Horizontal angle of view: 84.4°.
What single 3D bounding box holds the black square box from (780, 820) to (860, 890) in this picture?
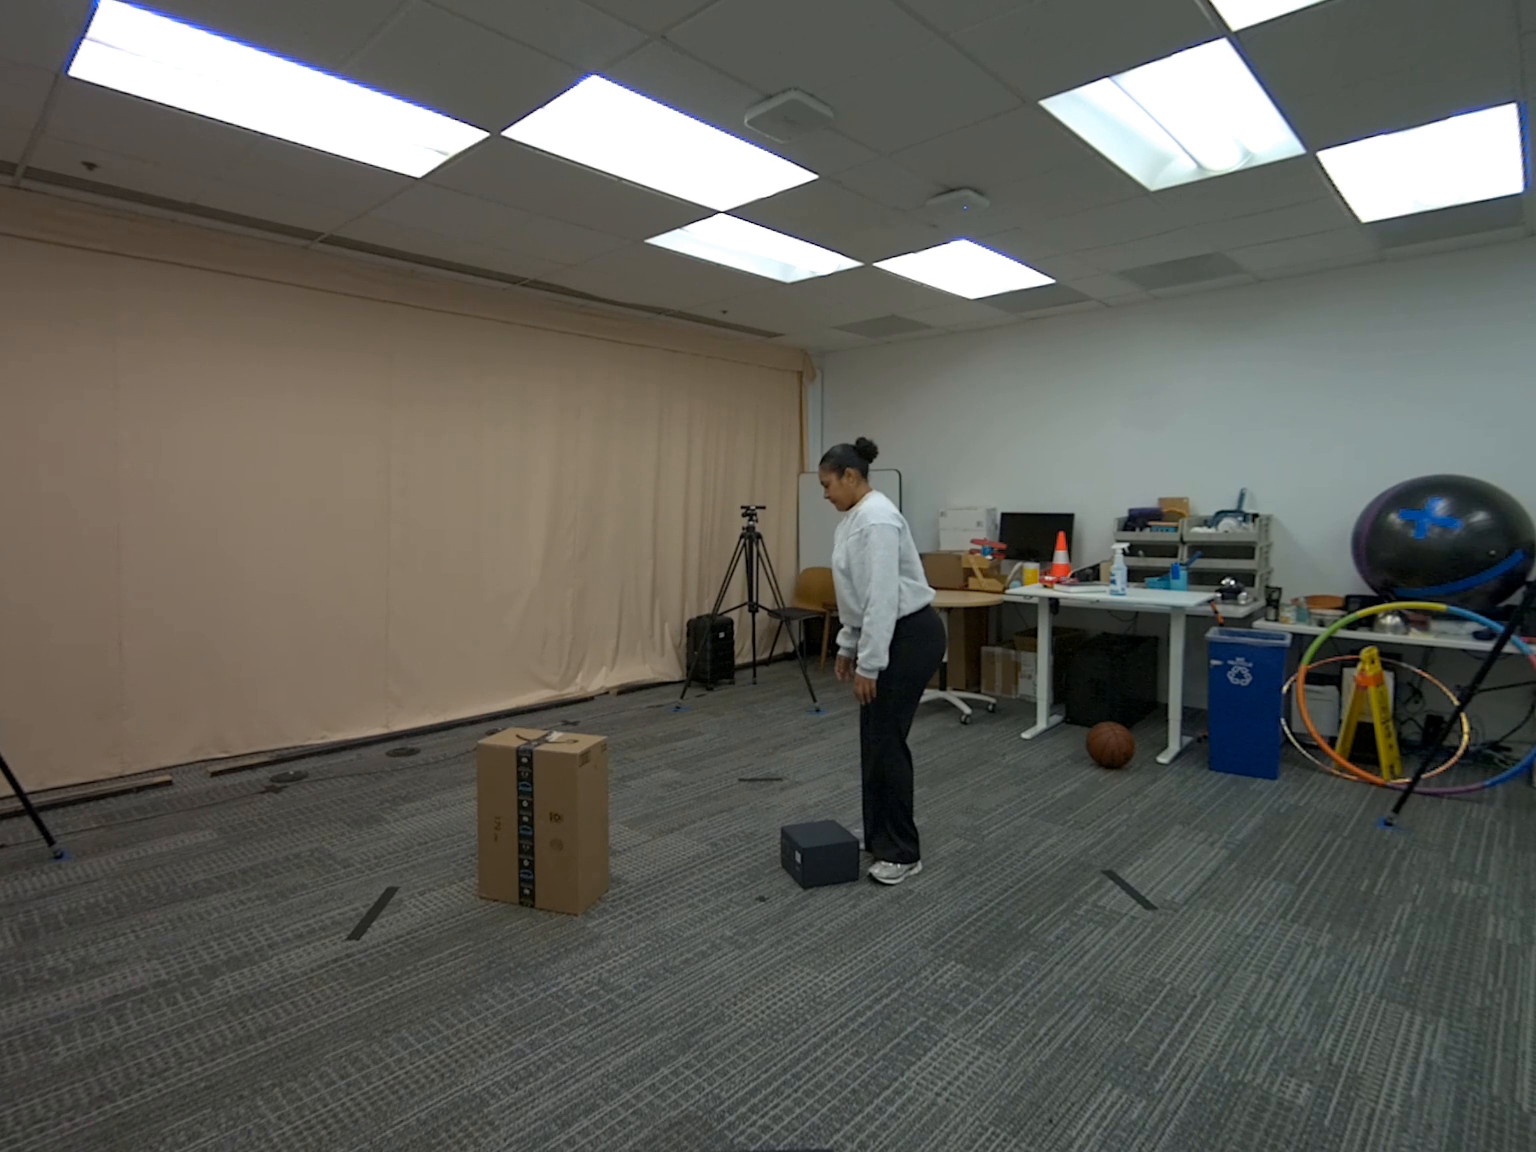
[{"bbox_3d":[0.199,1.046,3.175,0.223,0.155,0.222,-2,4,-20],"label":"black square box"}]
